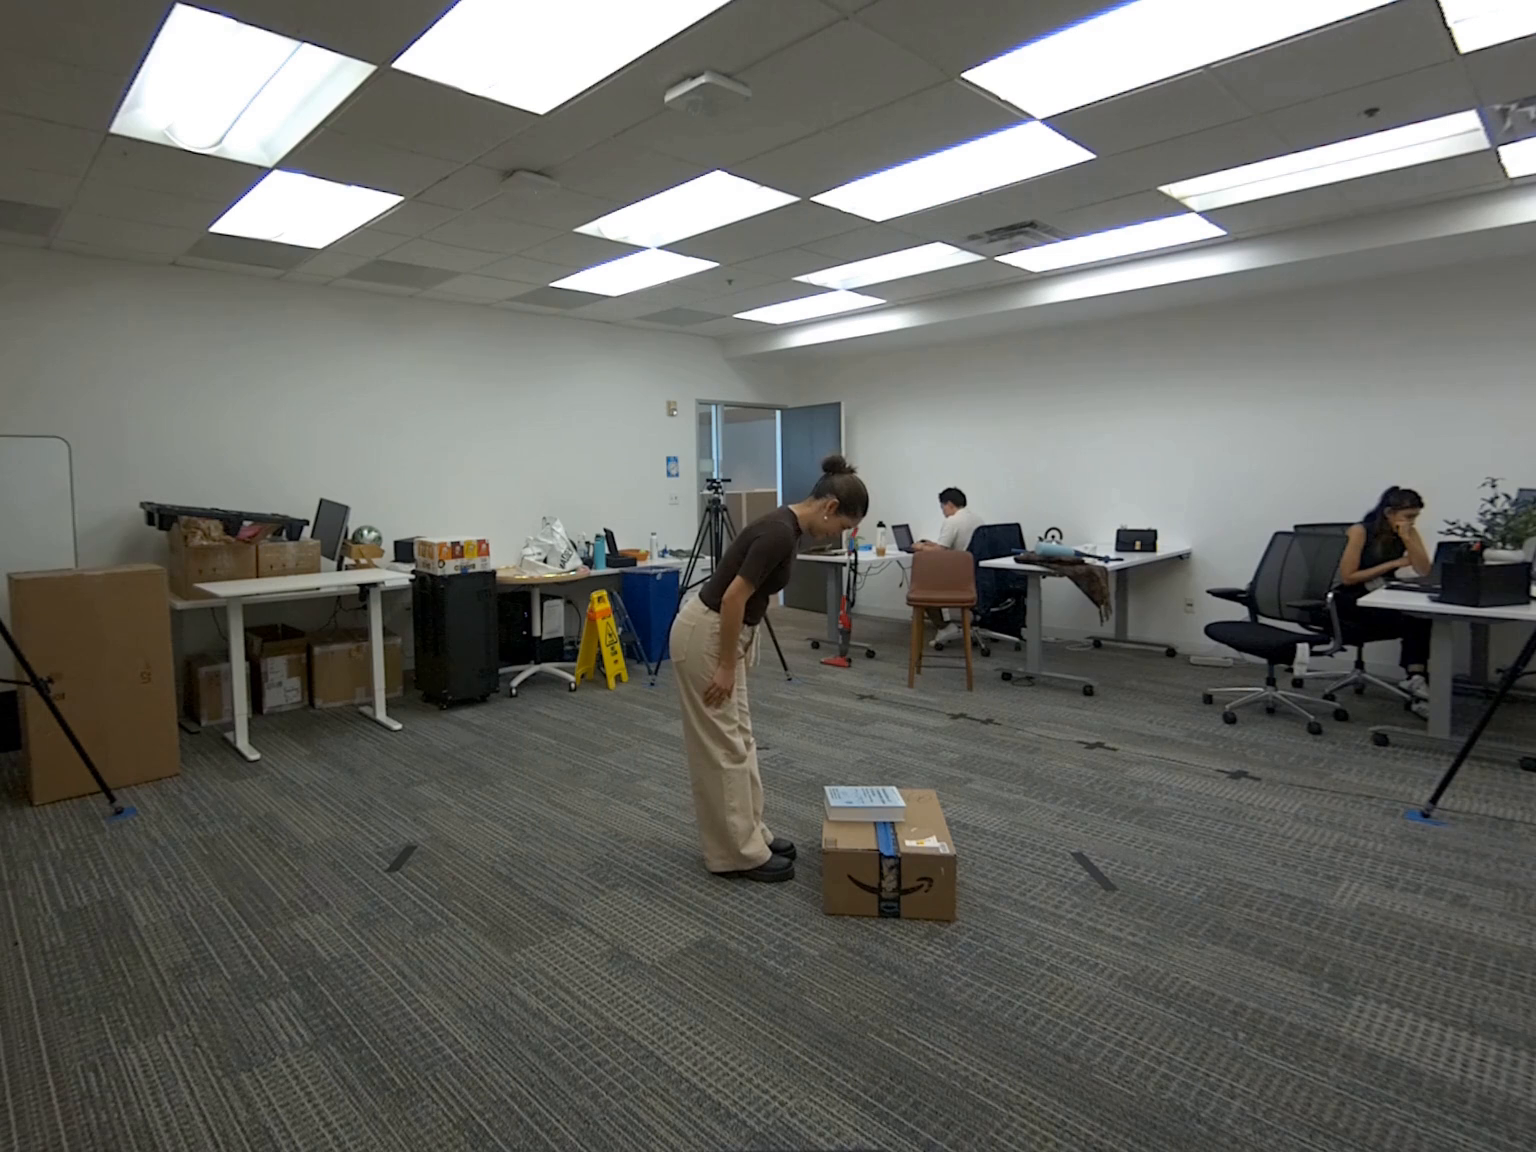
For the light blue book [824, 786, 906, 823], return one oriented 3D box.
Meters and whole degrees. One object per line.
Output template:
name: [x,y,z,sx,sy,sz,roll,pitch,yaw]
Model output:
light blue book: [0.336,0.799,3.030,0.261,0.059,0.192,0,7,0]
